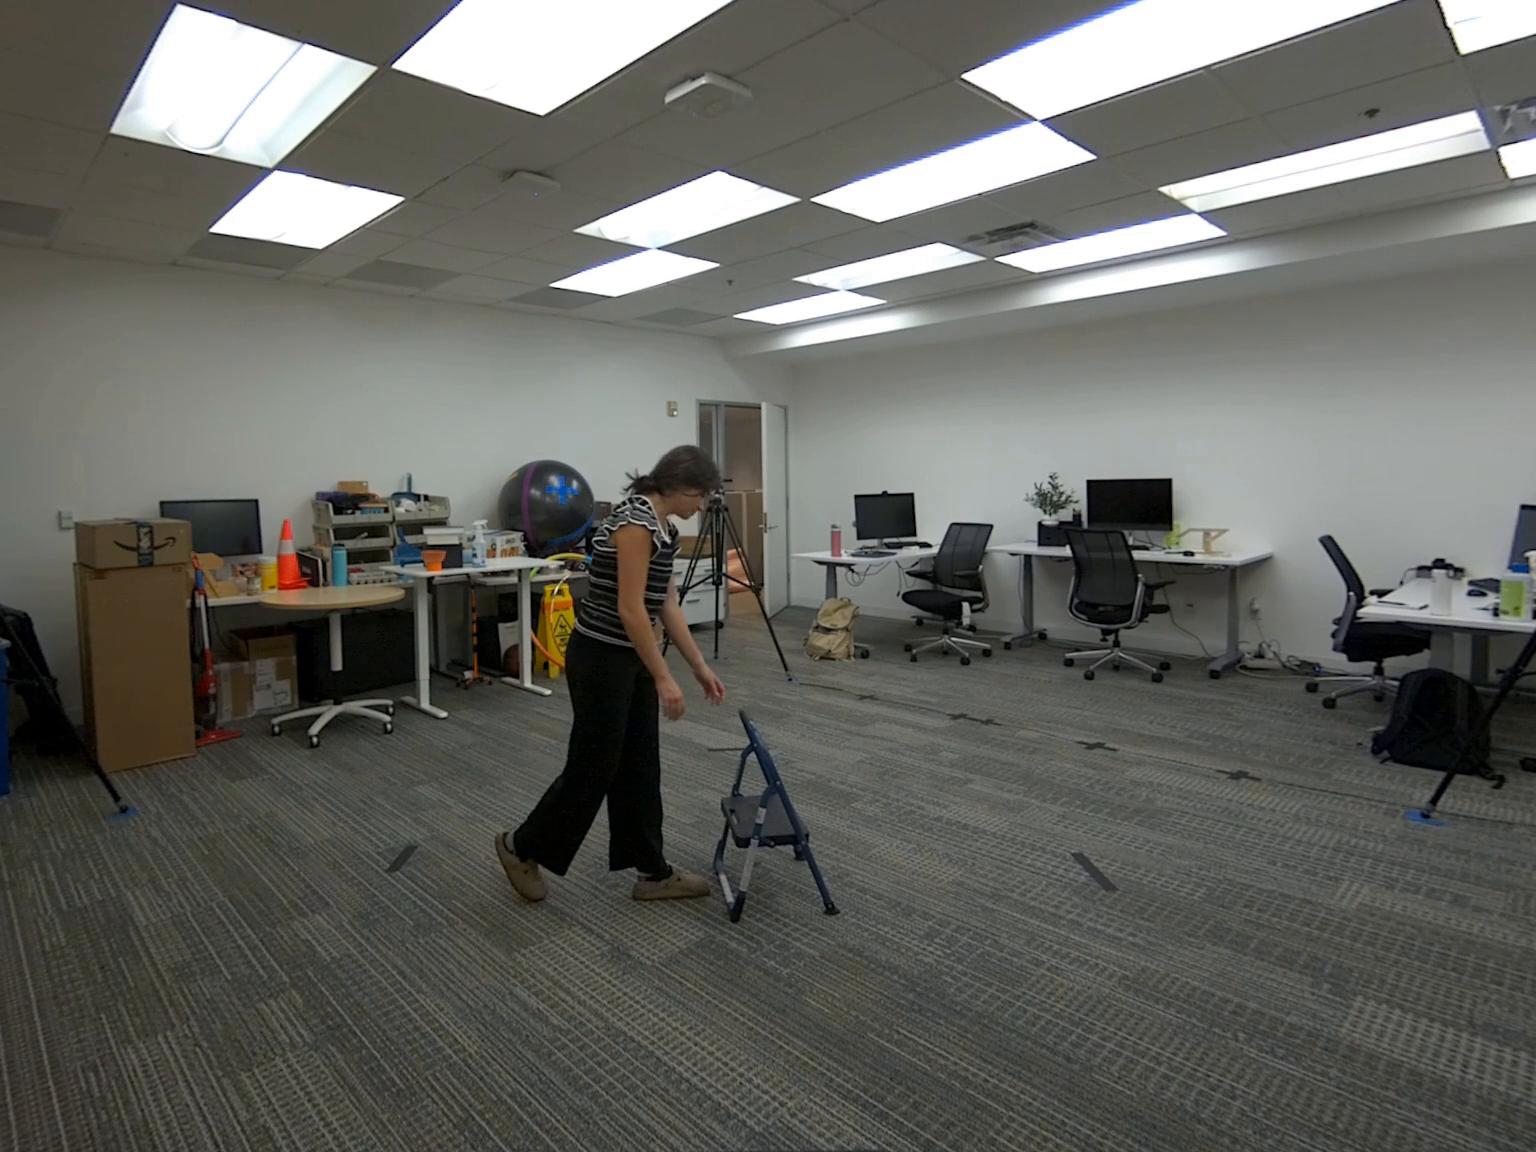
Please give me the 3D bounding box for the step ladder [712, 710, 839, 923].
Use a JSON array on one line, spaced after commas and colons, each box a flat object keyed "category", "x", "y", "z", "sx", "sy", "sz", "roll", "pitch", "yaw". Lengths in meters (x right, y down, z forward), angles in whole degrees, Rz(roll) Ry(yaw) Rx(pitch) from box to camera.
[{"category": "step ladder", "x": 0.006, "y": 0.767, "z": 2.899, "sx": 0.346, "sy": 0.604, "sz": 0.437, "roll": -2, "pitch": 4, "yaw": -11}]
